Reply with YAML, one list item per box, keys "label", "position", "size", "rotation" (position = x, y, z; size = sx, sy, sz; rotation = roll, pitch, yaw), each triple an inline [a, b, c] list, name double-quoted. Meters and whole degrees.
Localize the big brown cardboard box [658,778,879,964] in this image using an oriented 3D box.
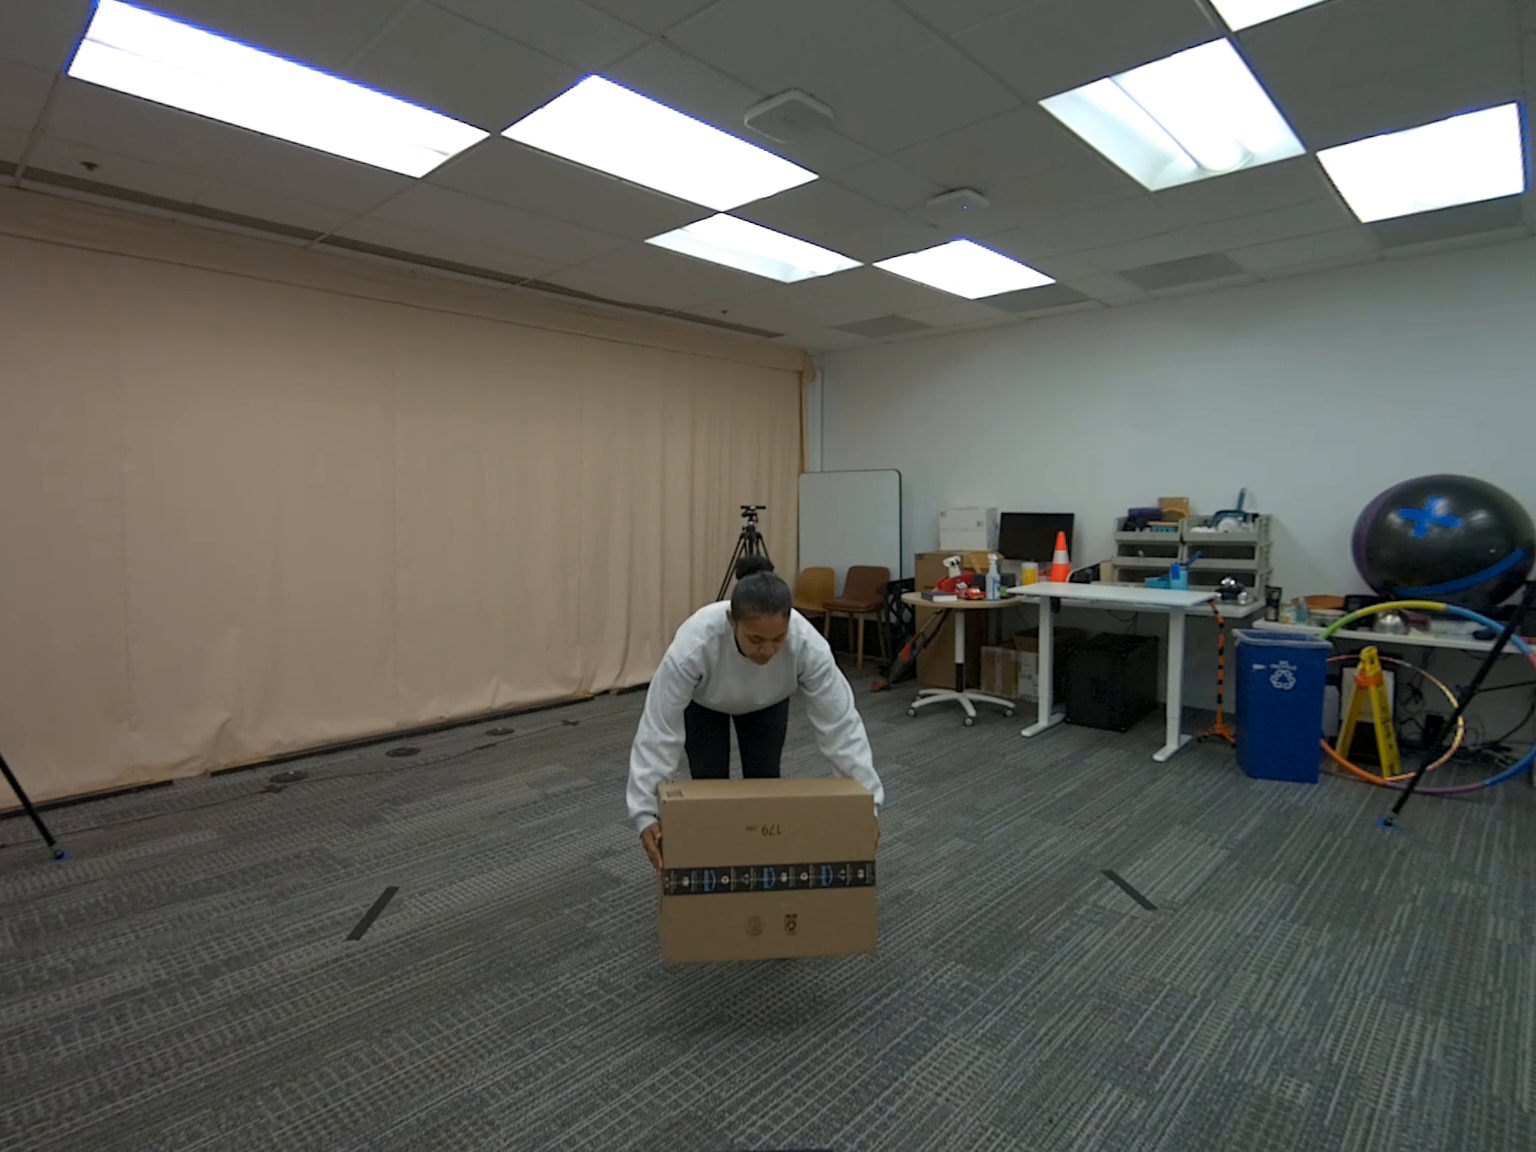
- label: "big brown cardboard box"
  position: [-0.014, 0.781, 2.296]
  size: [0.586, 0.418, 0.234]
  rotation: [2, -3, -4]
